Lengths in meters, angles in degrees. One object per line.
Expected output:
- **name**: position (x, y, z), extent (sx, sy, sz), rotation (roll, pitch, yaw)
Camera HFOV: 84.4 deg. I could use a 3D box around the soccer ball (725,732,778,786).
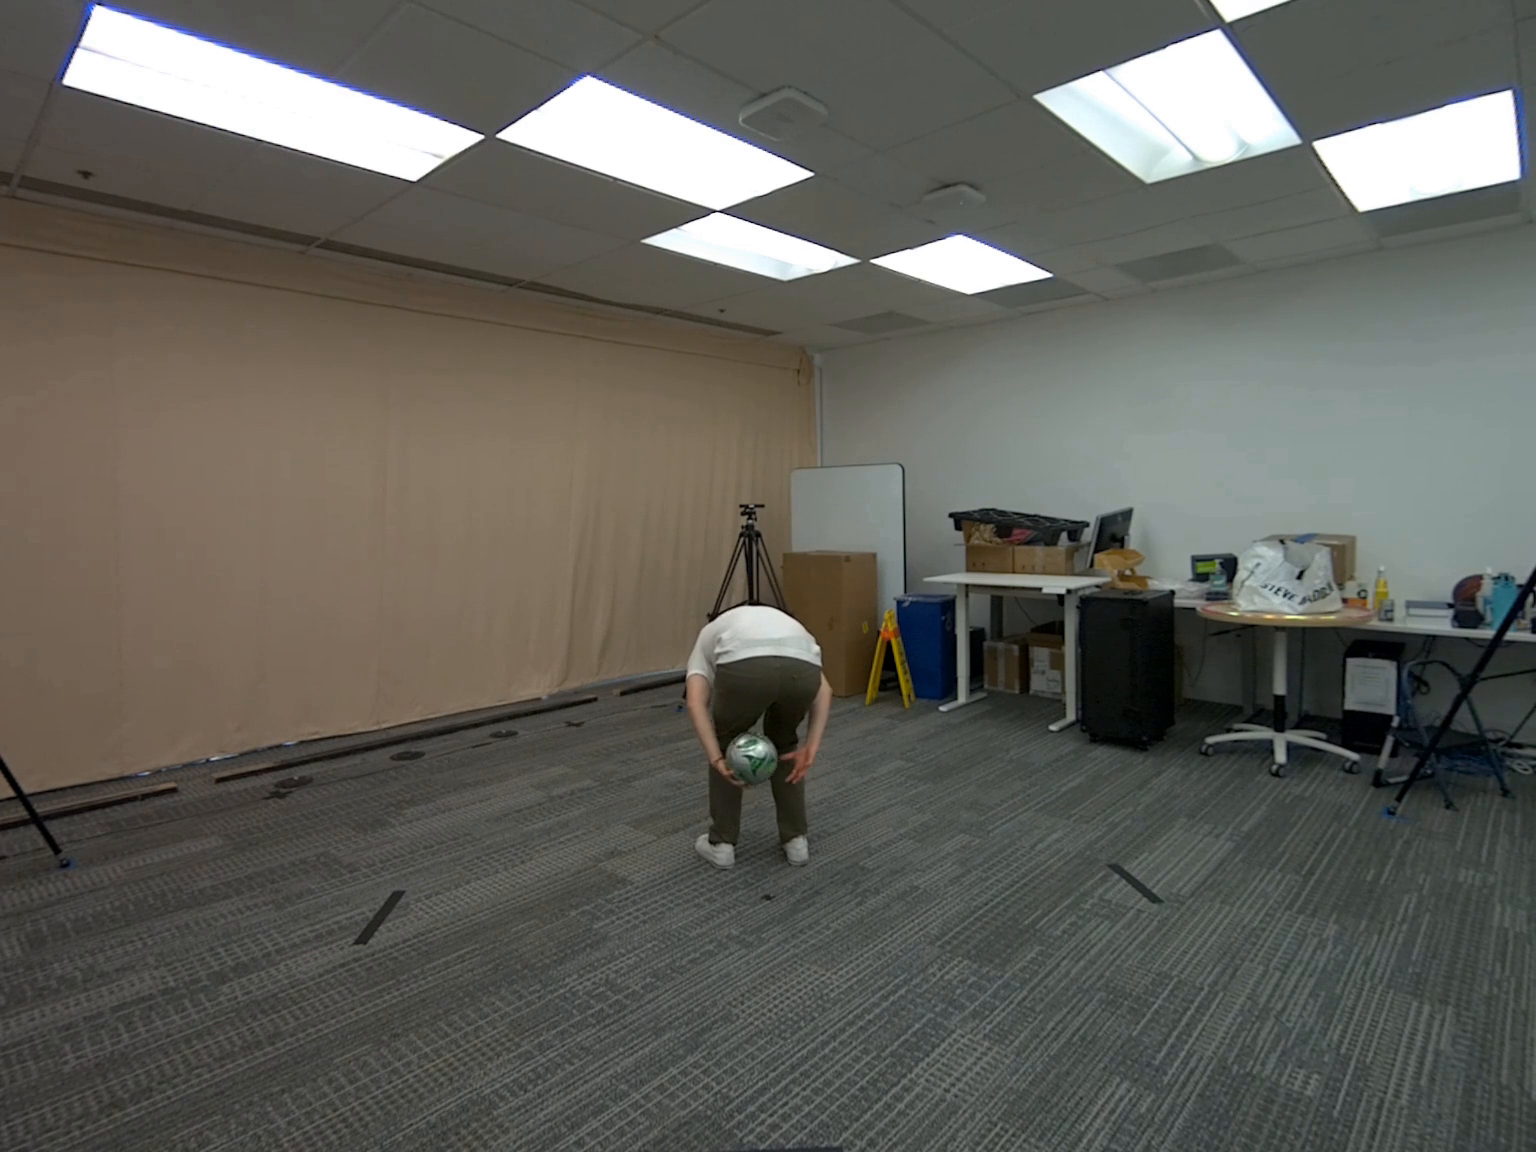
- **soccer ball**: position (-0.065, 0.650, 3.036), extent (0.187, 0.187, 0.188), rotation (-1, 4, -2)
